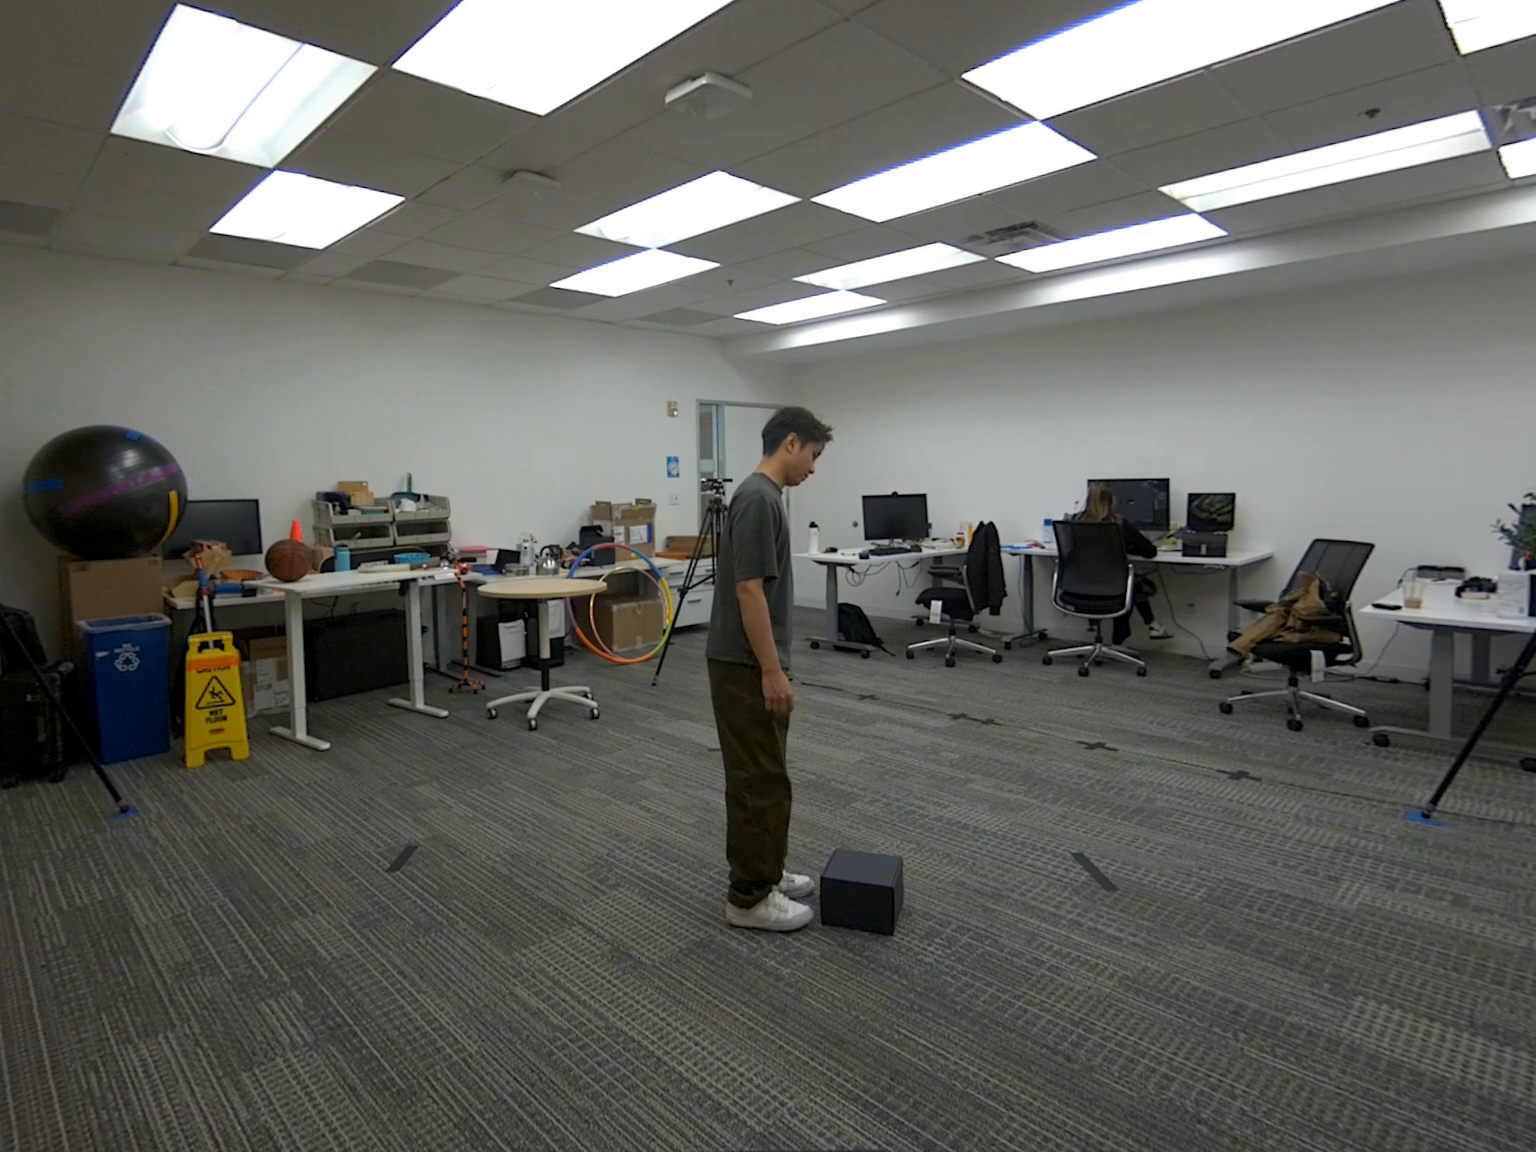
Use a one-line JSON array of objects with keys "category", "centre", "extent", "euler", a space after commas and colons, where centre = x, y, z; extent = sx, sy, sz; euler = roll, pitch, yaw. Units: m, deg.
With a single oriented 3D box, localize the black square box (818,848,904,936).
[{"category": "black square box", "centre": [0.309, 0.989, 2.724], "extent": [0.232, 0.155, 0.214], "euler": [1, 6, 18]}]
